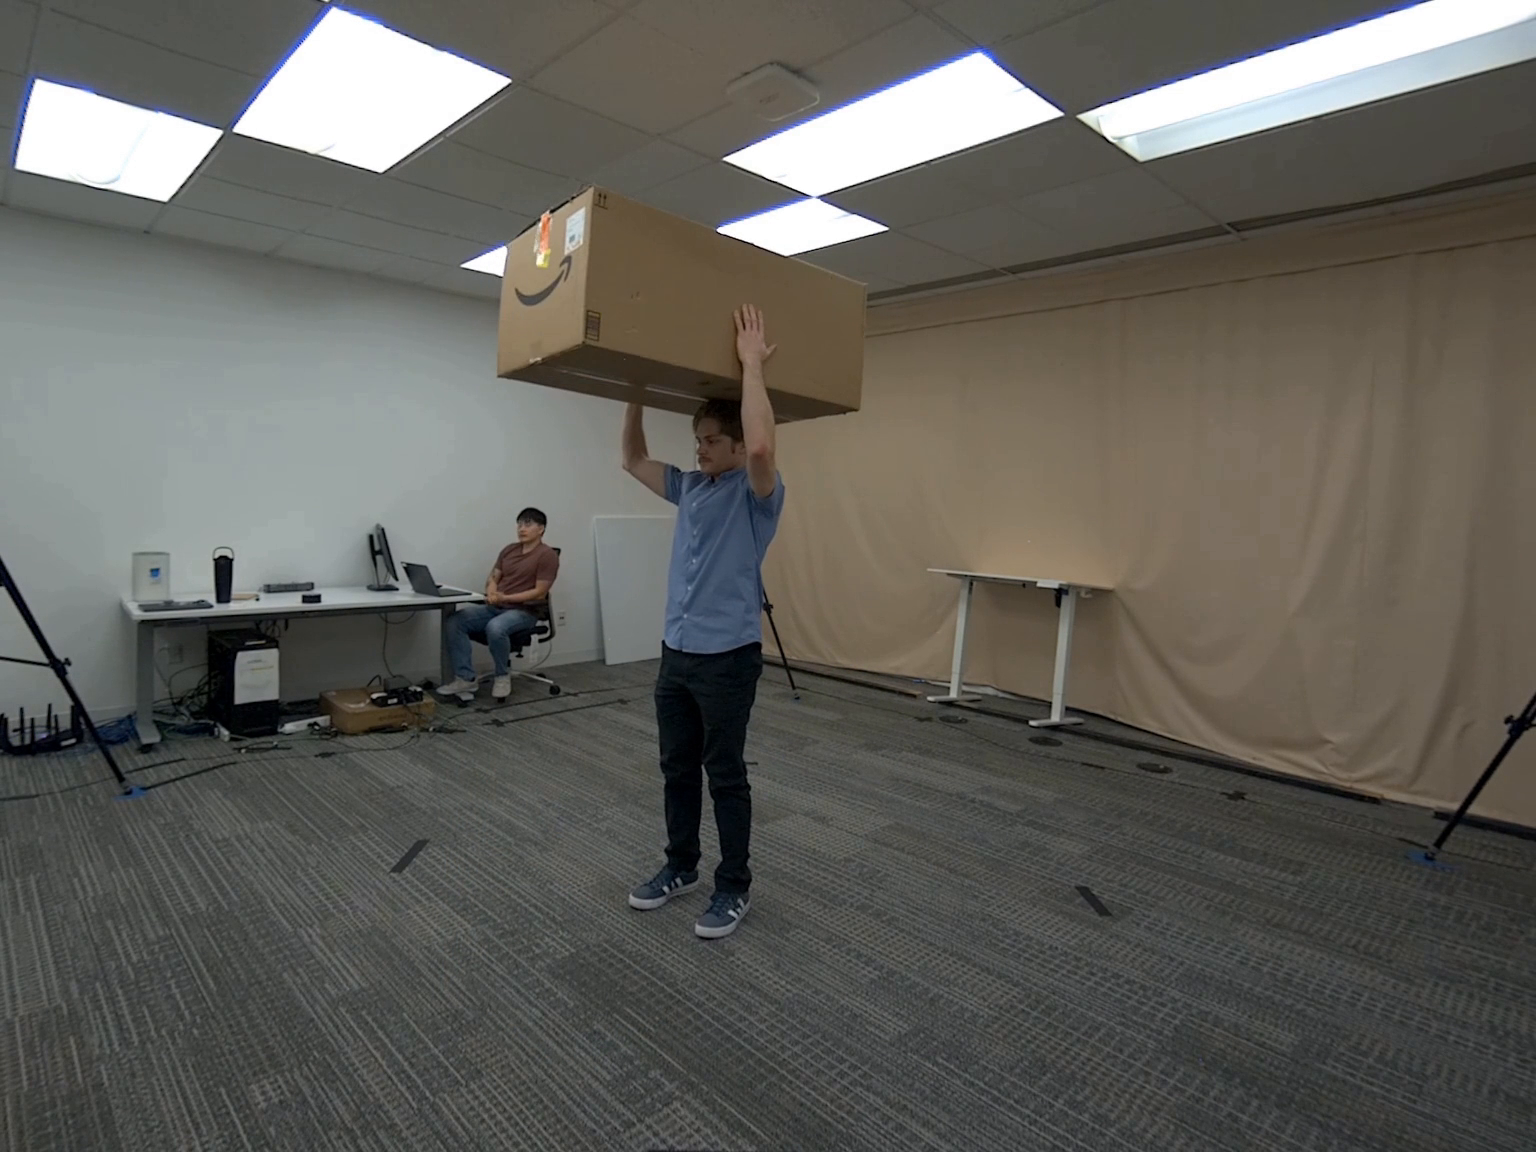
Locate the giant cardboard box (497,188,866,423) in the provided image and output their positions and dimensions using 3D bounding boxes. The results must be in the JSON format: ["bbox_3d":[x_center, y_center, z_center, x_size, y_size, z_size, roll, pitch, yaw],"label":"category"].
[{"bbox_3d":[-0.259,-0.785,2.687,1.001,0.427,0.591,3,-1,-39],"label":"giant cardboard box"}]
